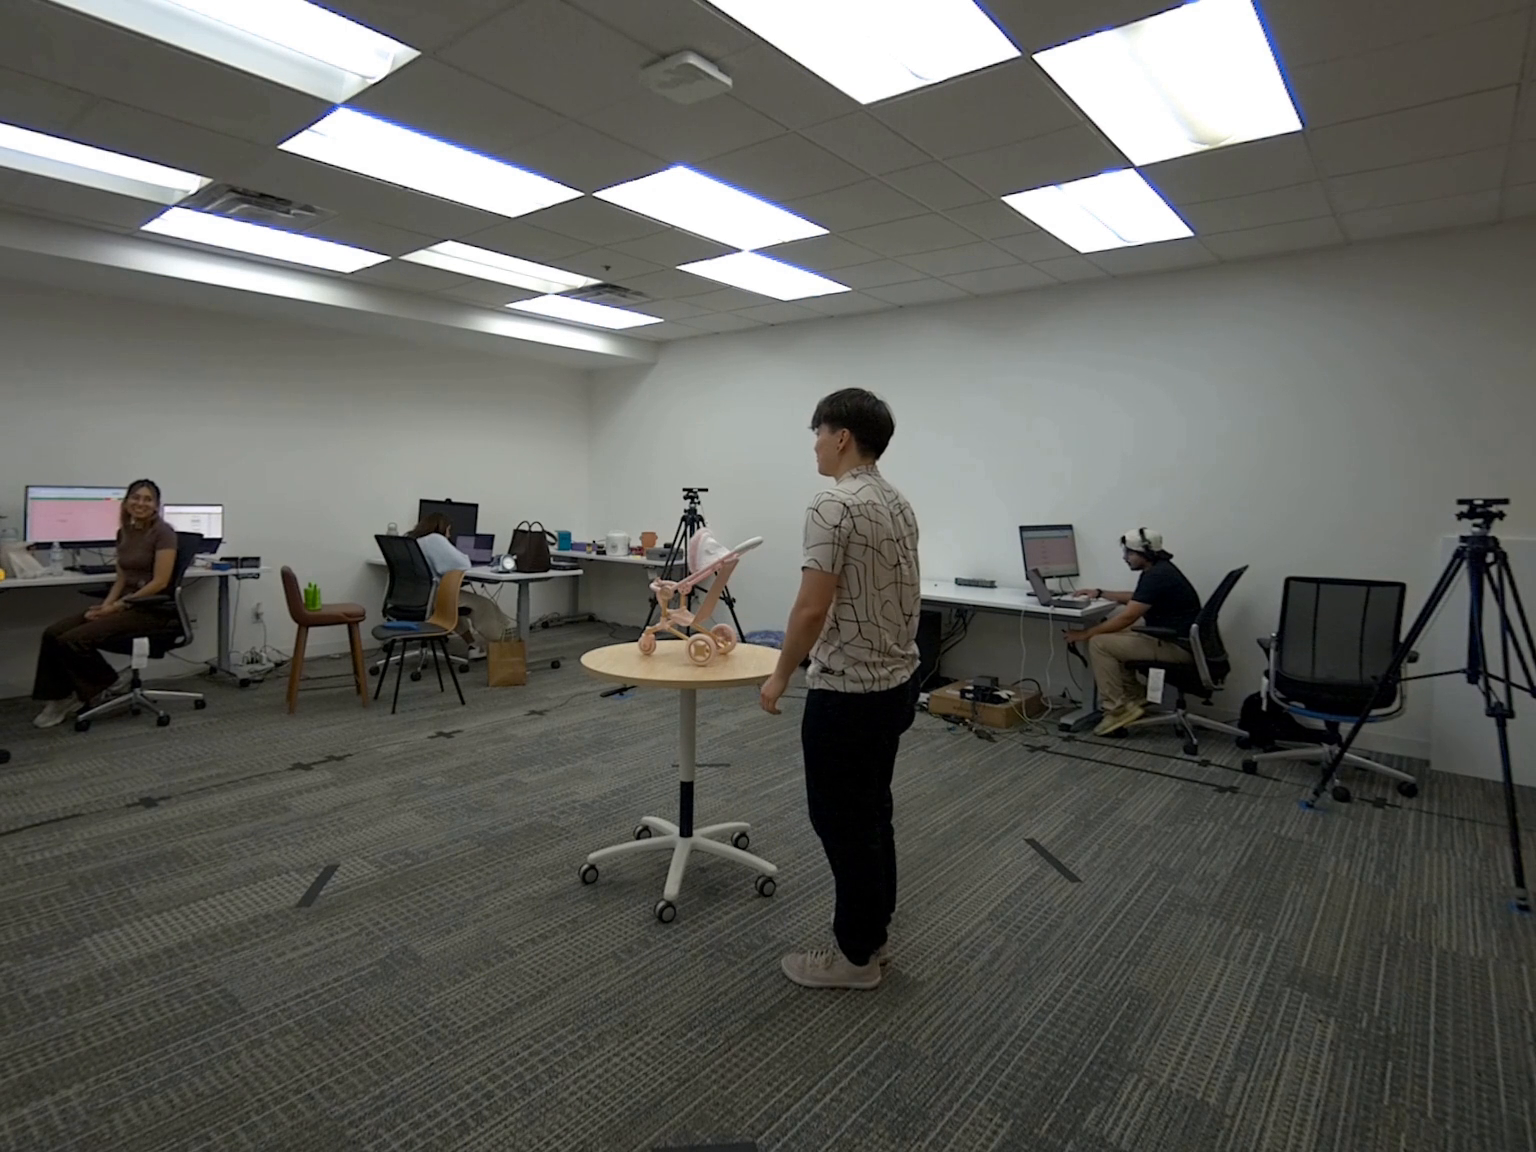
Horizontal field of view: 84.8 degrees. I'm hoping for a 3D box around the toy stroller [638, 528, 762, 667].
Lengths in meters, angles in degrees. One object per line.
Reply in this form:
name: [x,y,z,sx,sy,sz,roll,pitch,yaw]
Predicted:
toy stroller: [-0.266,0.069,3.026,0.350,0.532,0.276,19,8,19]
